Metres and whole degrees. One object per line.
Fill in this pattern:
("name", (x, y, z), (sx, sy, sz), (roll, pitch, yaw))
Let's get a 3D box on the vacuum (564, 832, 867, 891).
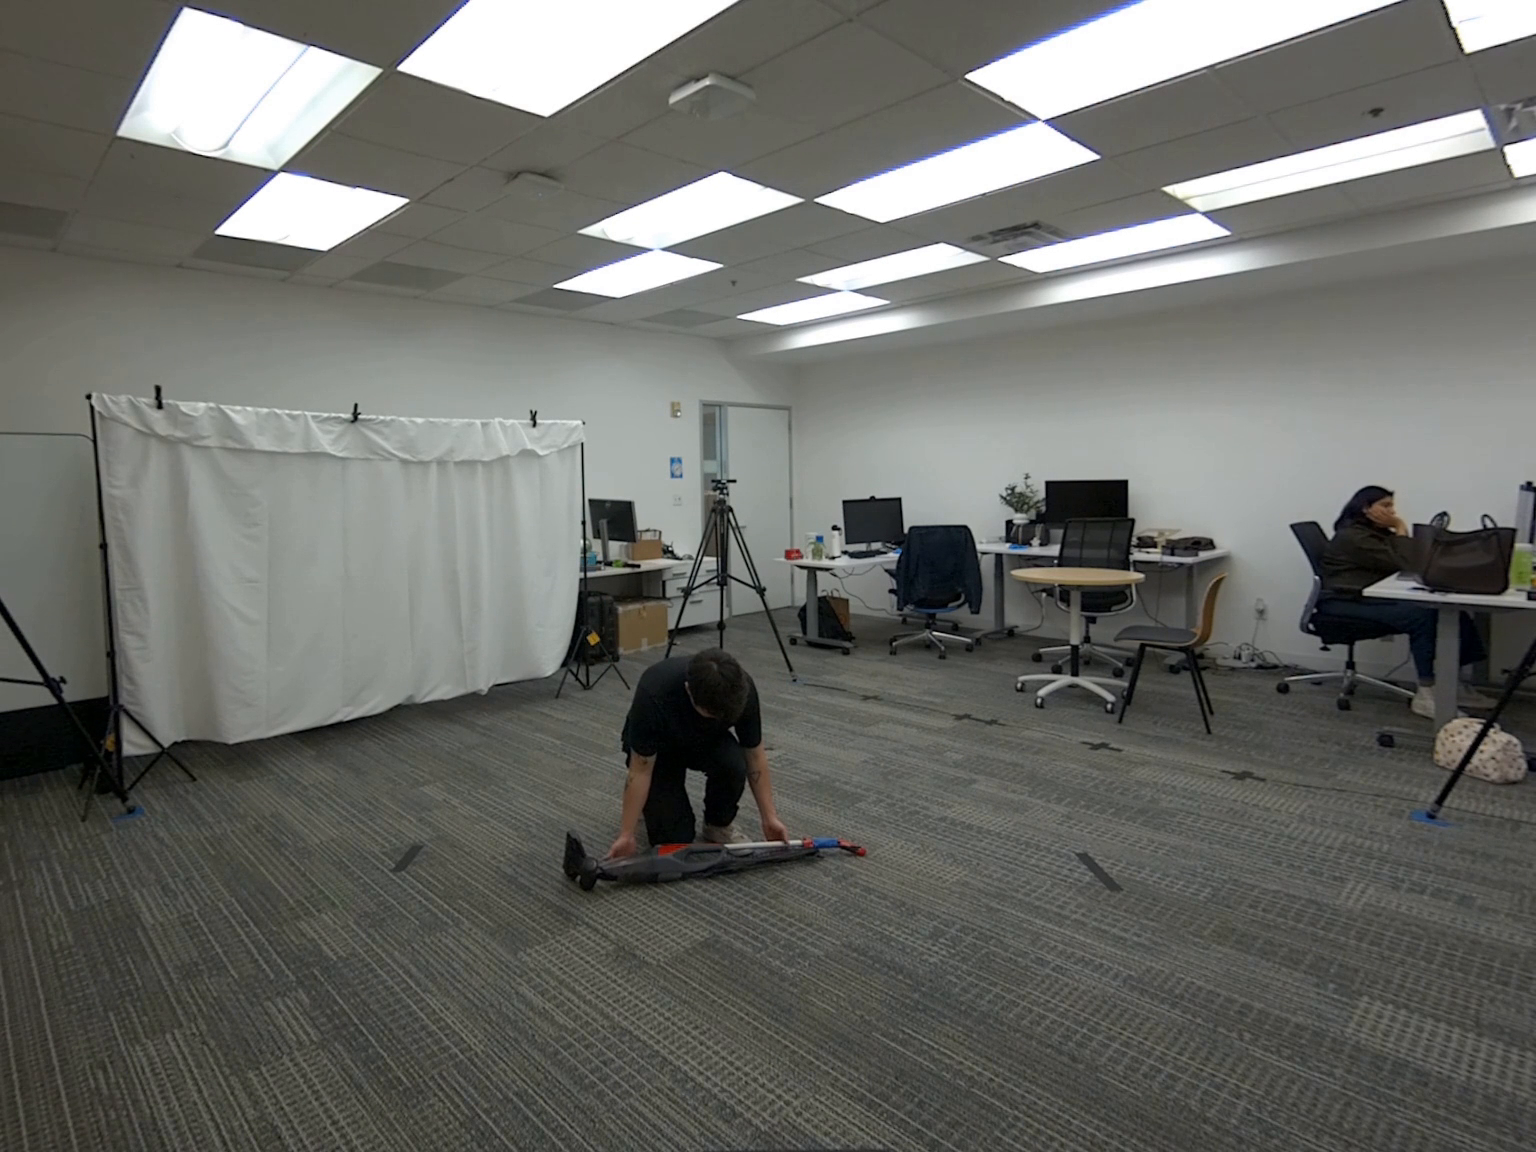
("vacuum", (-0.158, 0.996, 3.055), (1.035, 0.247, 0.149), (1, 41, -13))
